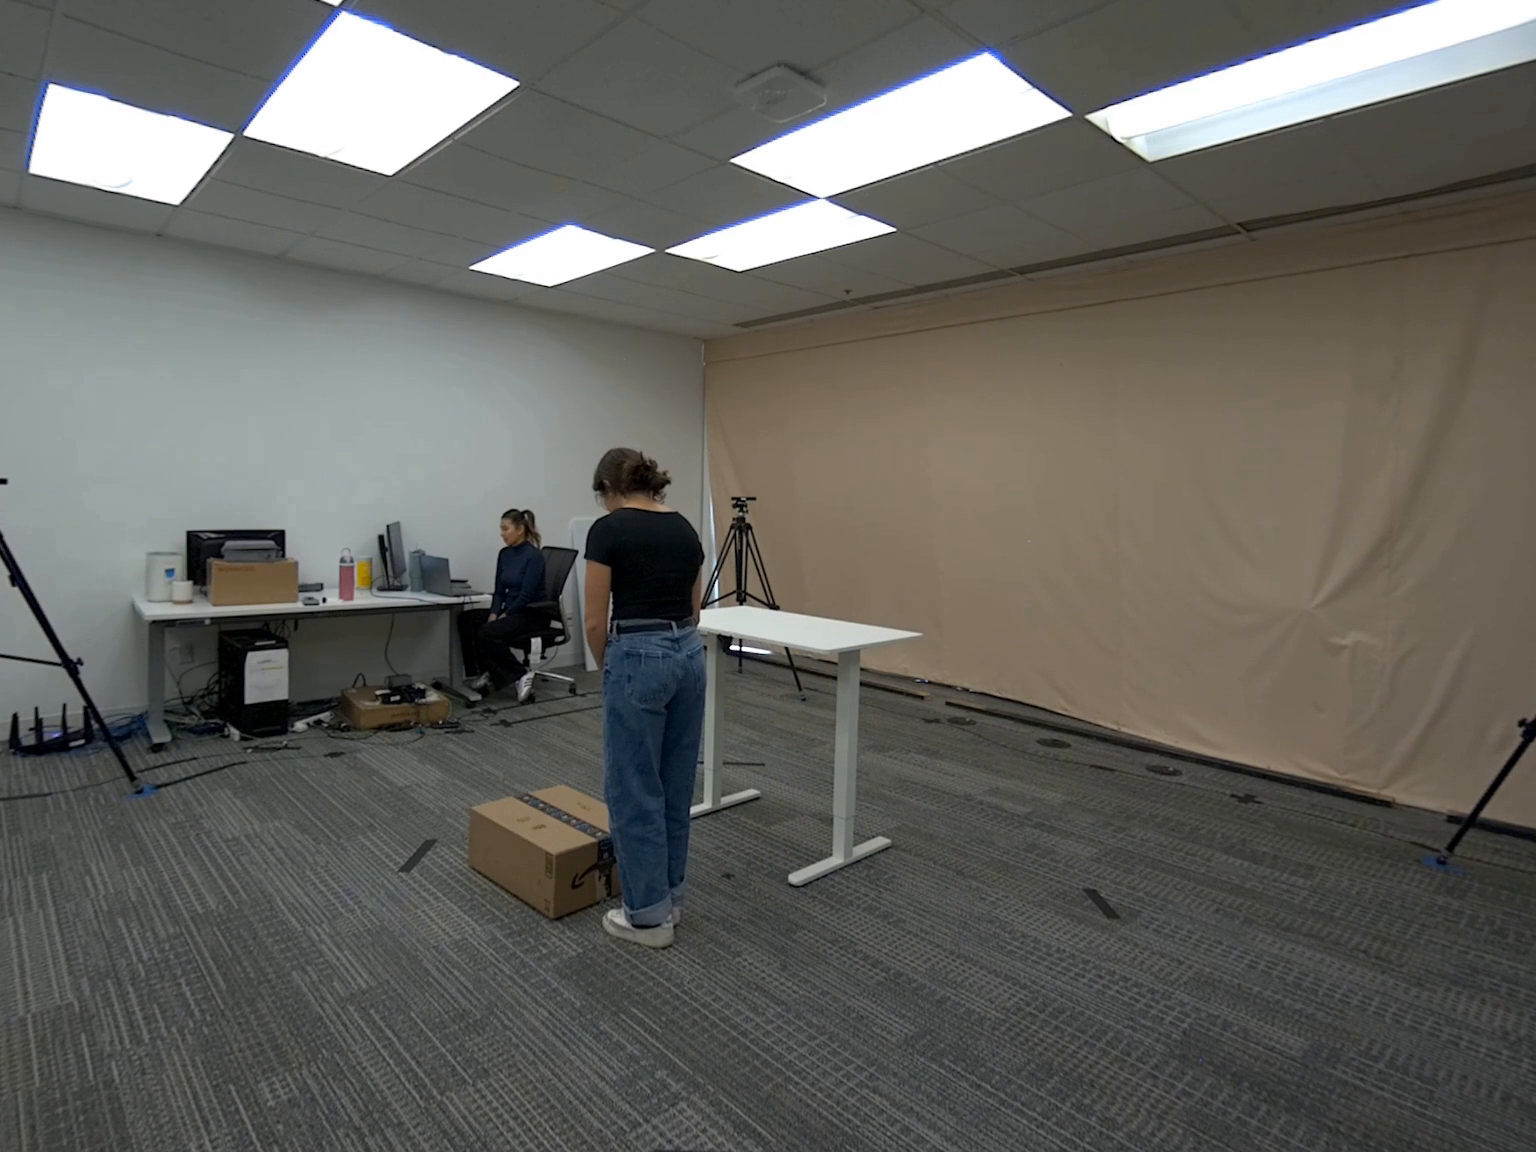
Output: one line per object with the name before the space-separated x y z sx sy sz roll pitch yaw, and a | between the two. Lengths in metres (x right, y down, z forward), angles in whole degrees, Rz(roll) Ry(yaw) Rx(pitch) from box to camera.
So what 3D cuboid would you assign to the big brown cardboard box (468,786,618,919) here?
big brown cardboard box | -0.775 0.984 3.078 0.604 0.233 0.408 5 5 44
